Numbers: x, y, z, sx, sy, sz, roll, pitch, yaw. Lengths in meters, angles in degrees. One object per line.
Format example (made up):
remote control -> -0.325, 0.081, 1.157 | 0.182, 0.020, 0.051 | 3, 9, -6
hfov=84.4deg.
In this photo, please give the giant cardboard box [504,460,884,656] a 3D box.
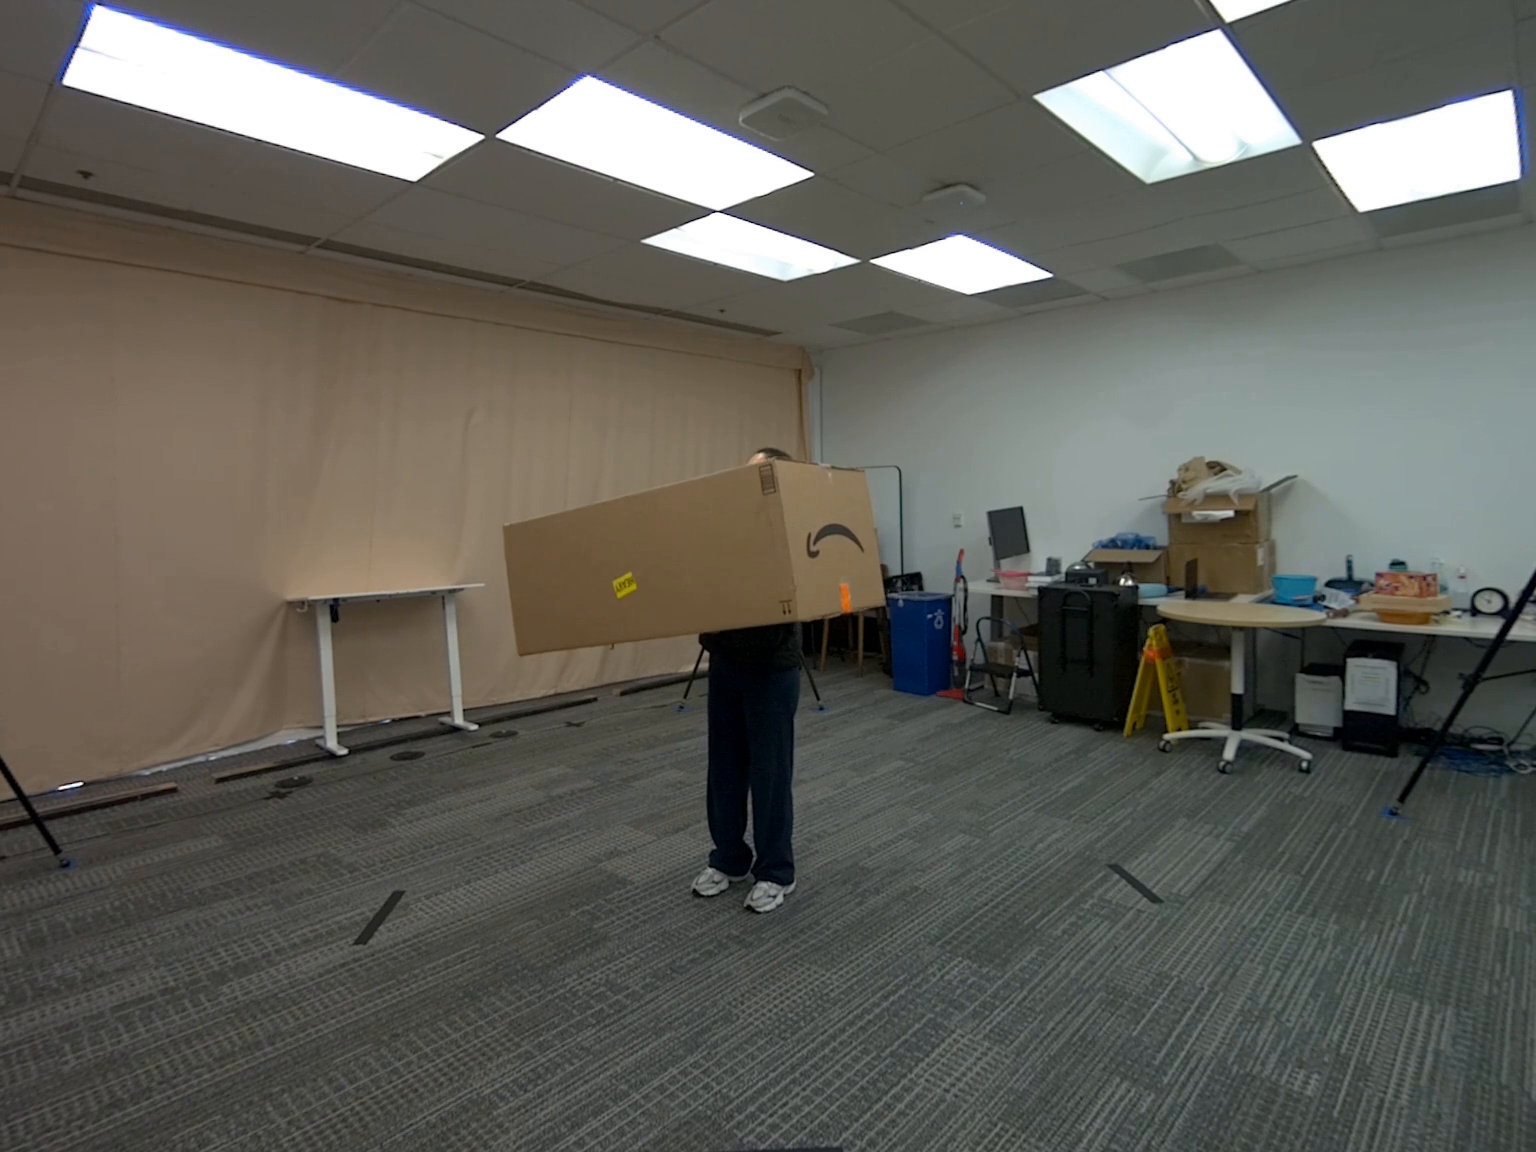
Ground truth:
giant cardboard box -> -0.229, -0.037, 2.645 | 1.053, 0.427, 0.561 | -9, -3, 32
